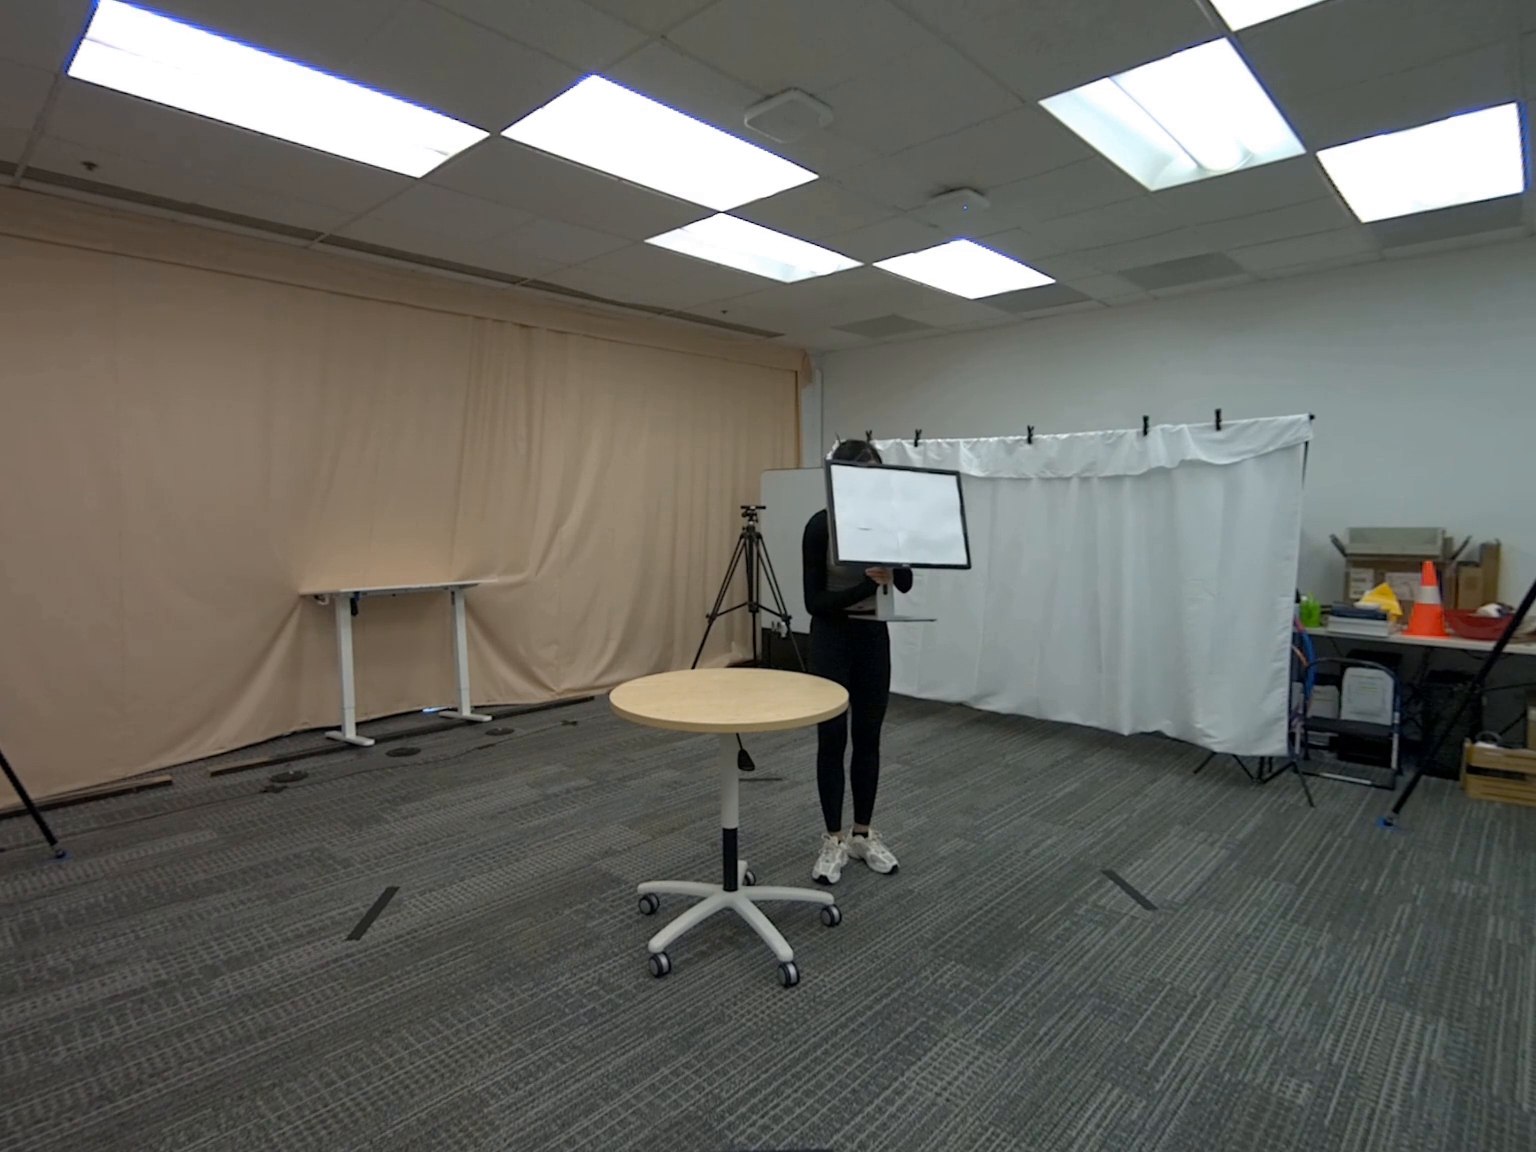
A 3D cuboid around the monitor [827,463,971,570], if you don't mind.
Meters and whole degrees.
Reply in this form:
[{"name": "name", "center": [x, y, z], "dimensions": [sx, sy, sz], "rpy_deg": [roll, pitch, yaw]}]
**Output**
[{"name": "monitor", "center": [0.437, -0.112, 2.939], "dimensions": [0.526, 0.523, 0.192], "rpy_deg": [1, -1, -25]}]
